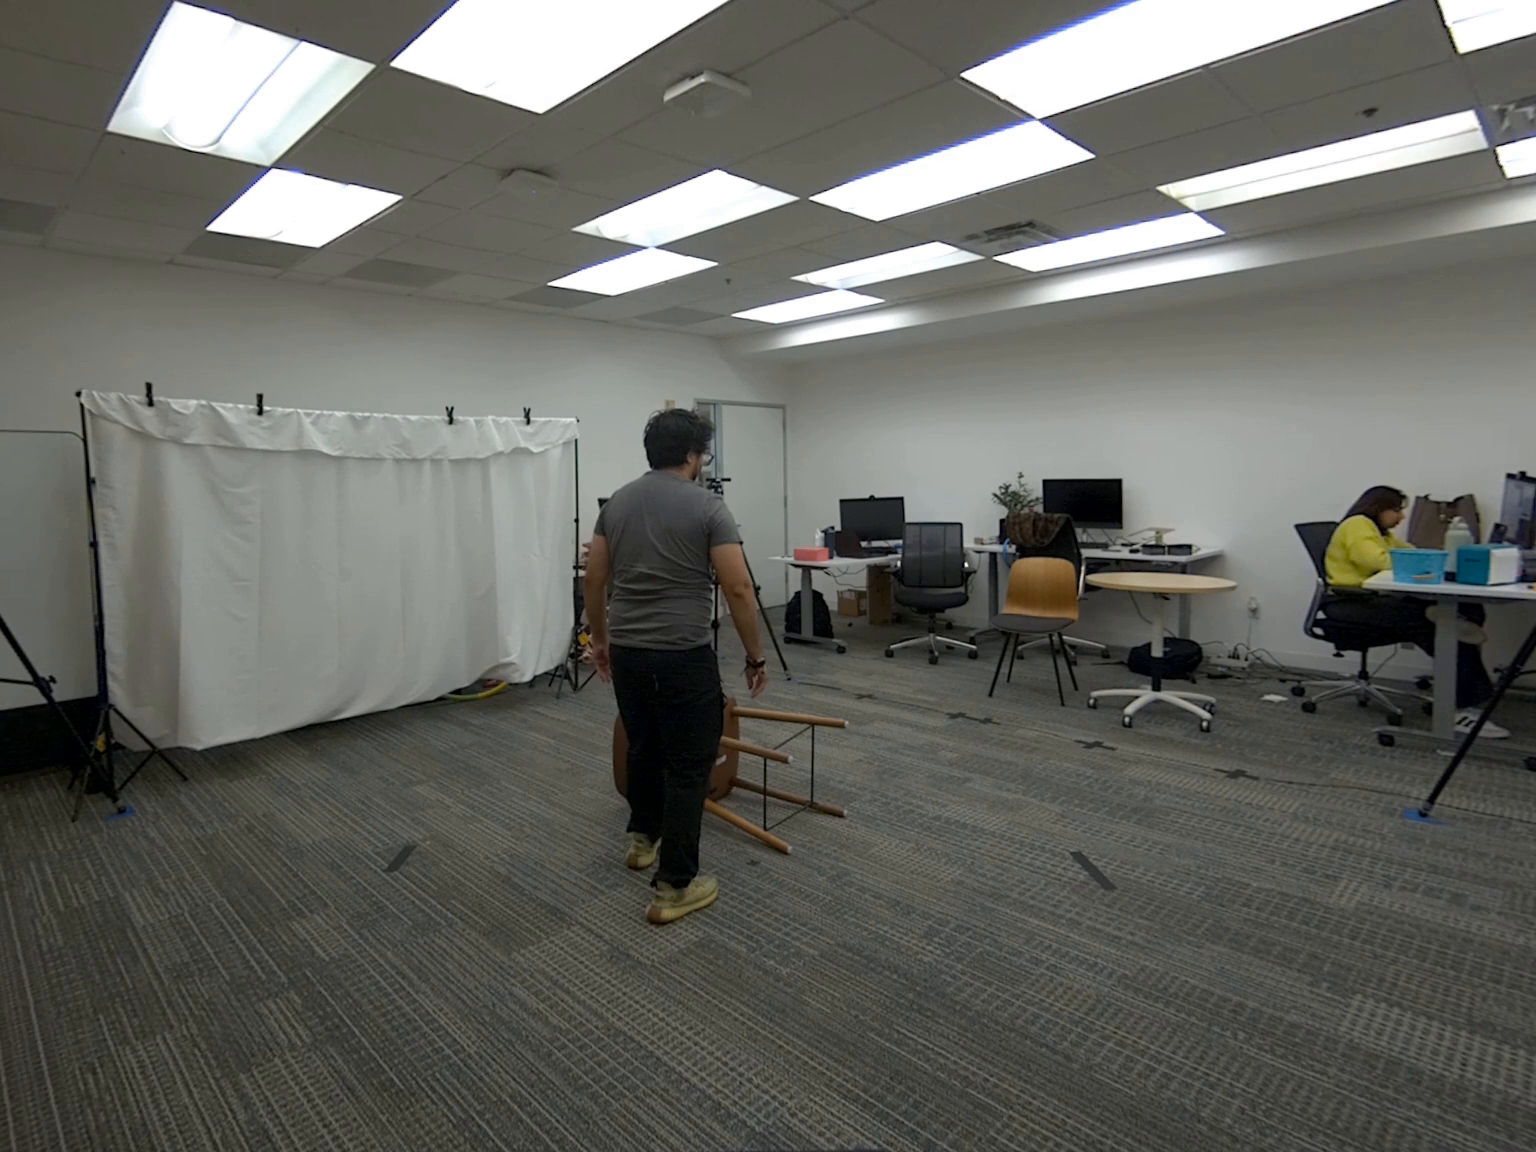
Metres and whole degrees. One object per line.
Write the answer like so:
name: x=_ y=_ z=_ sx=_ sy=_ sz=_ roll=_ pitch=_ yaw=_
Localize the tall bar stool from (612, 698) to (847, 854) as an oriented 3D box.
tall bar stool: x=-0.167 y=0.778 z=3.572 sx=0.916 sy=0.453 sz=0.457 roll=5 pitch=10 yaw=34
